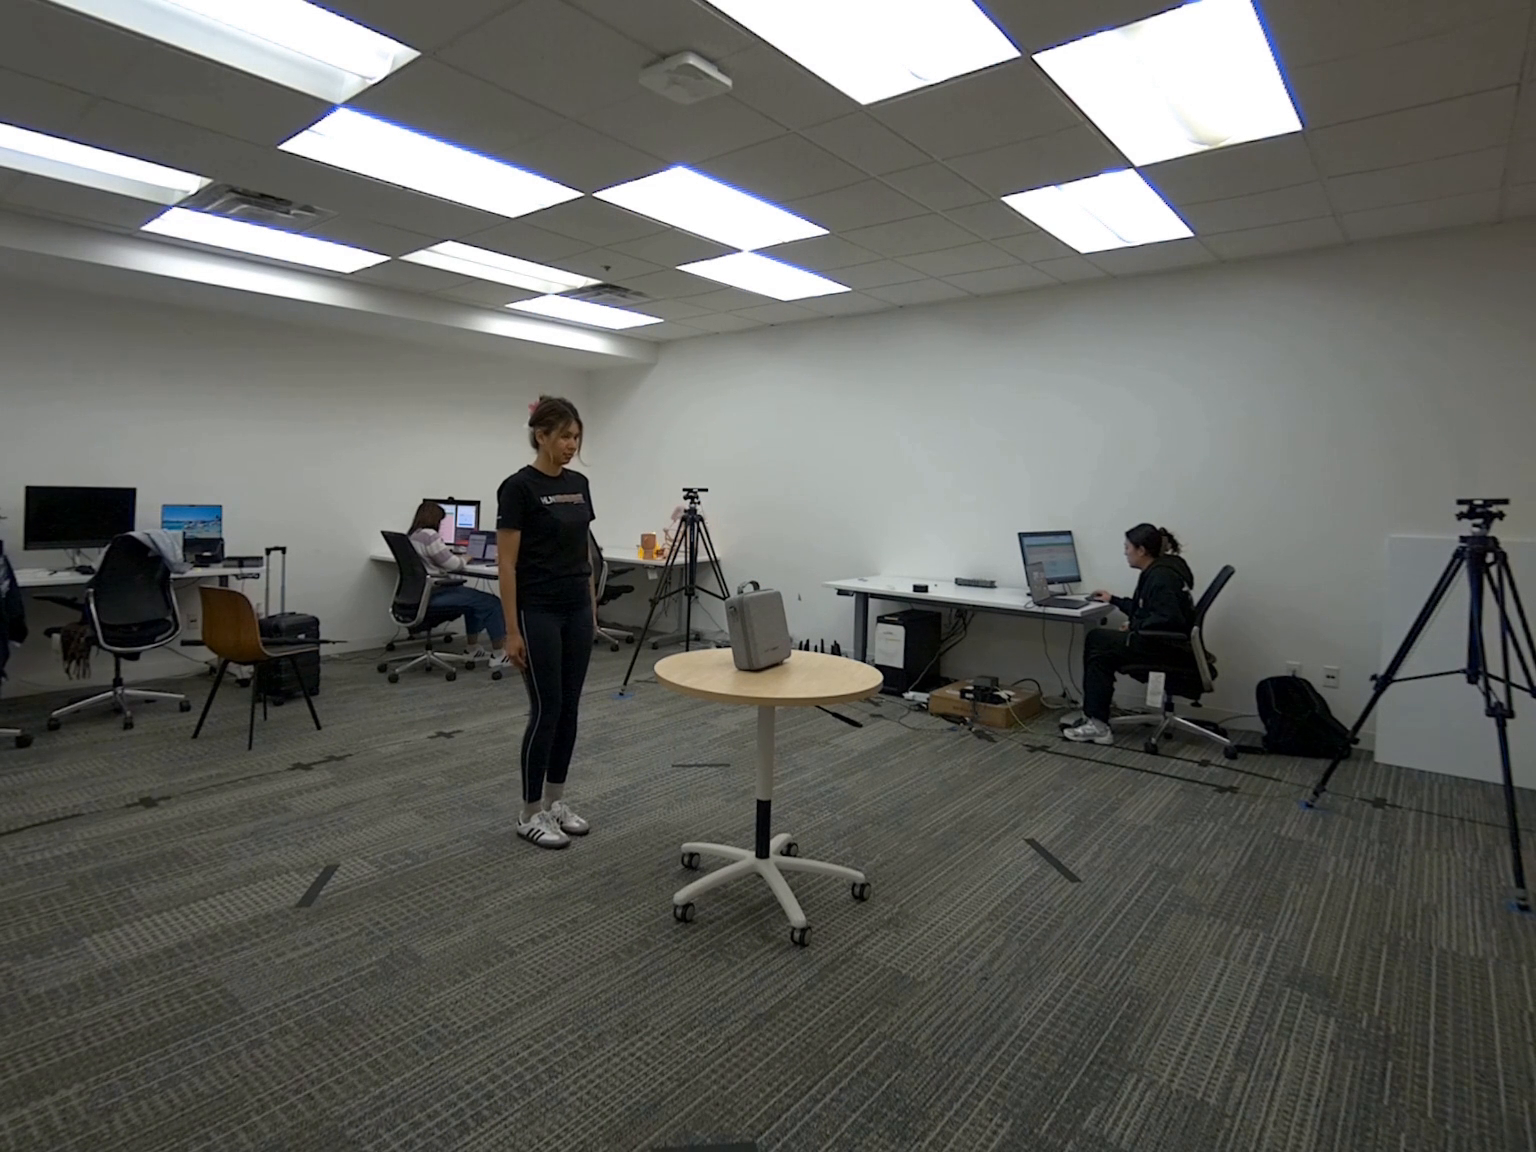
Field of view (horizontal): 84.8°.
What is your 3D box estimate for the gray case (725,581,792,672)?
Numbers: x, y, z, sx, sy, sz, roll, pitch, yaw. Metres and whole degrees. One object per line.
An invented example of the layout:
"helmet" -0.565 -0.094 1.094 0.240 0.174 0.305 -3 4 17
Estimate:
"gray case" -0.042 0.175 2.926 0.106 0.262 0.250 -11 -4 29
